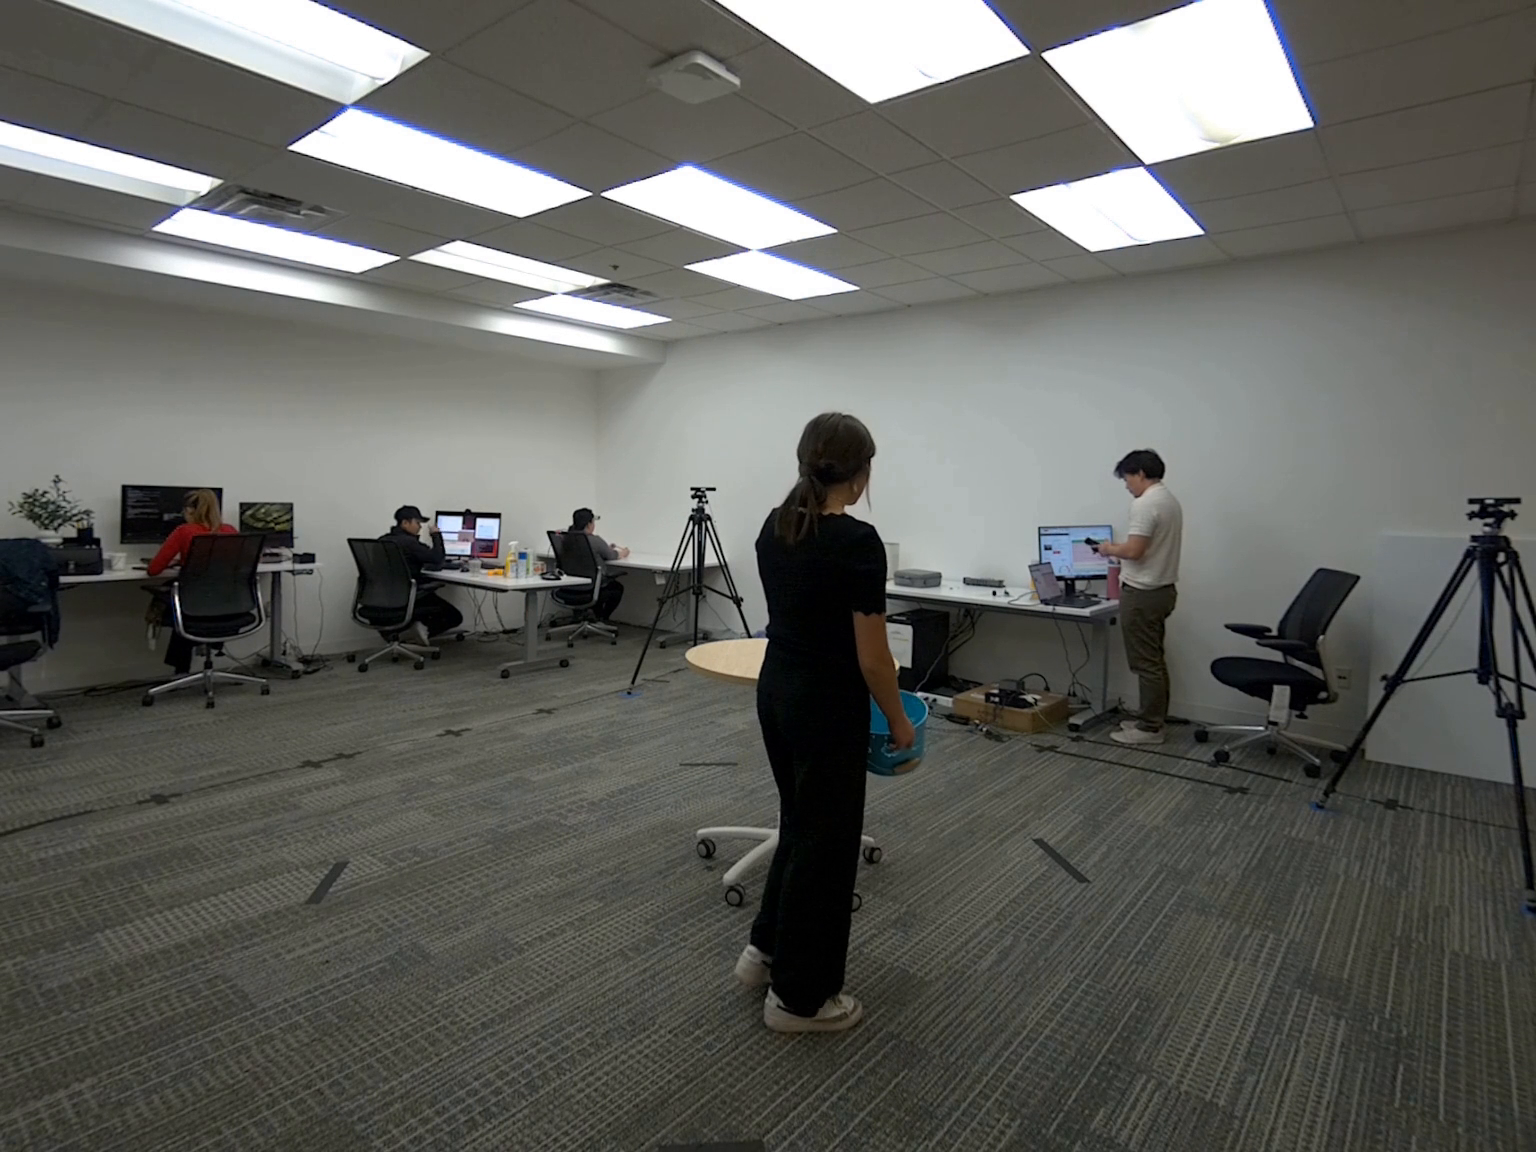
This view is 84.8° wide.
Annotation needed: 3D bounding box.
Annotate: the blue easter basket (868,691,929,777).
[{"bbox_3d":[0.320,0.448,2.373,0.244,0.153,0.248,-6,20,0],"label":"blue easter basket"}]
